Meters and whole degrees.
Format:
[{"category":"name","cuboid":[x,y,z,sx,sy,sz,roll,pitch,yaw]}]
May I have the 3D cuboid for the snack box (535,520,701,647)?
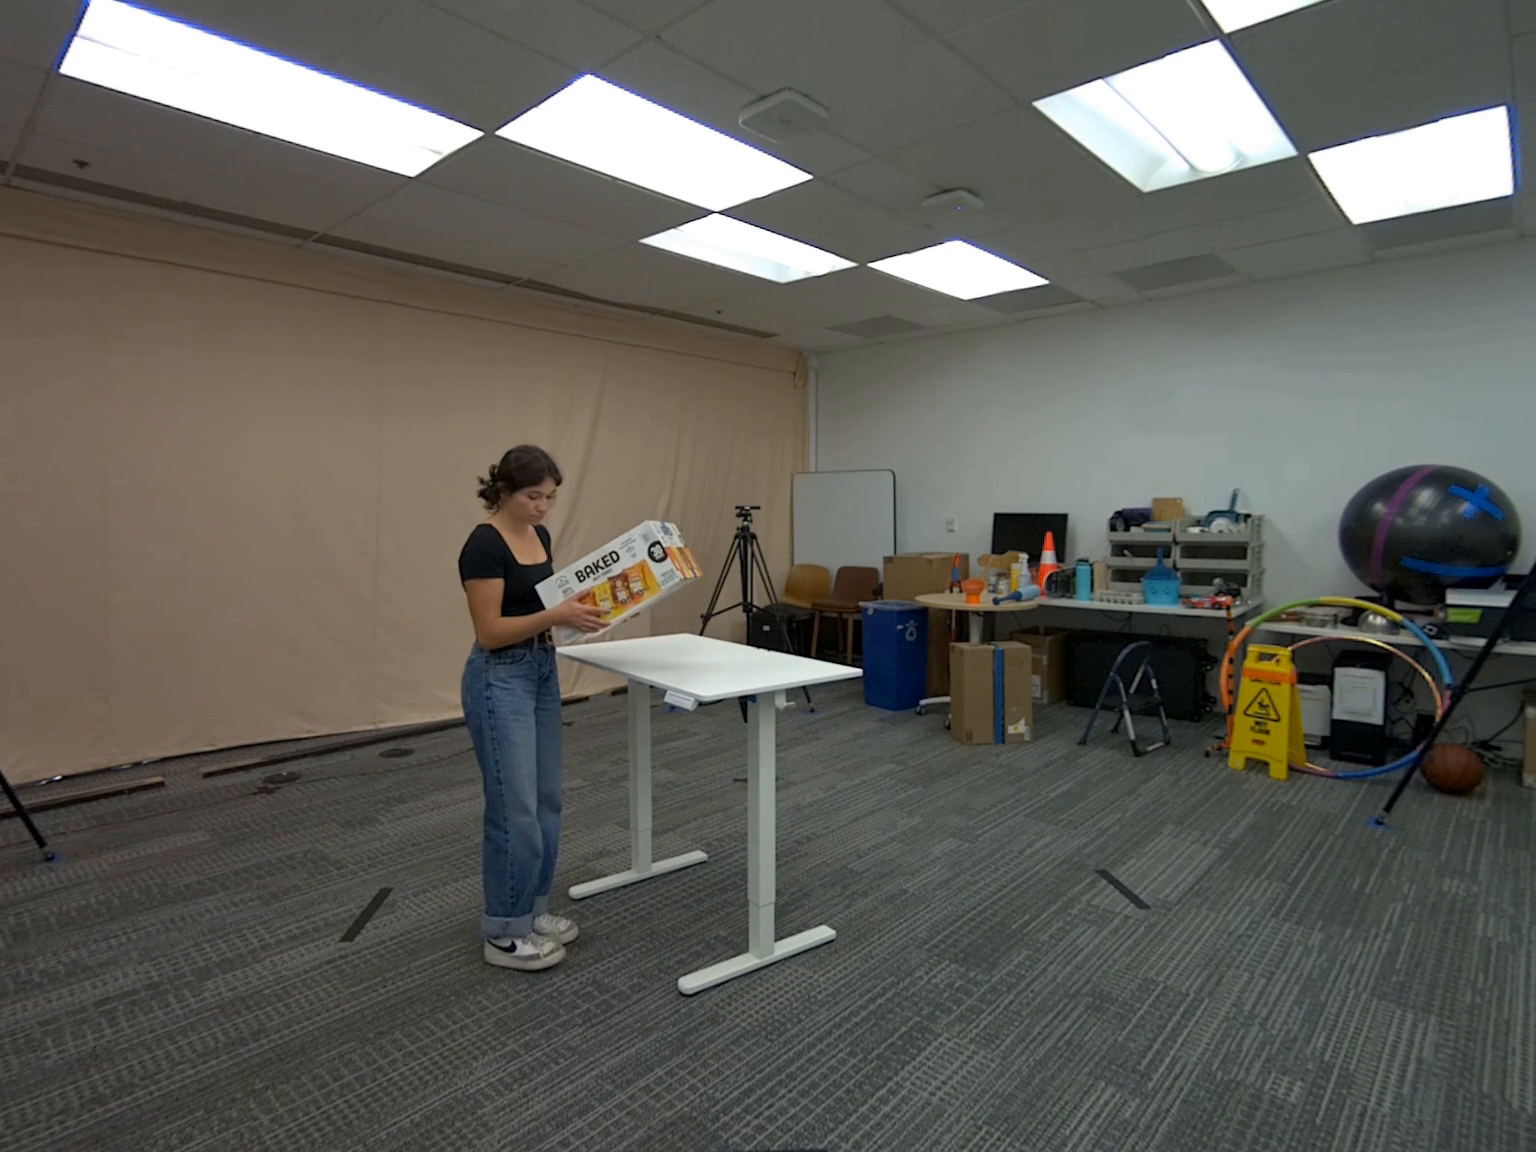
[{"category":"snack box","cuboid":[-0.454,0.014,2.632,0.407,0.206,0.337,-29,-2,7]}]
